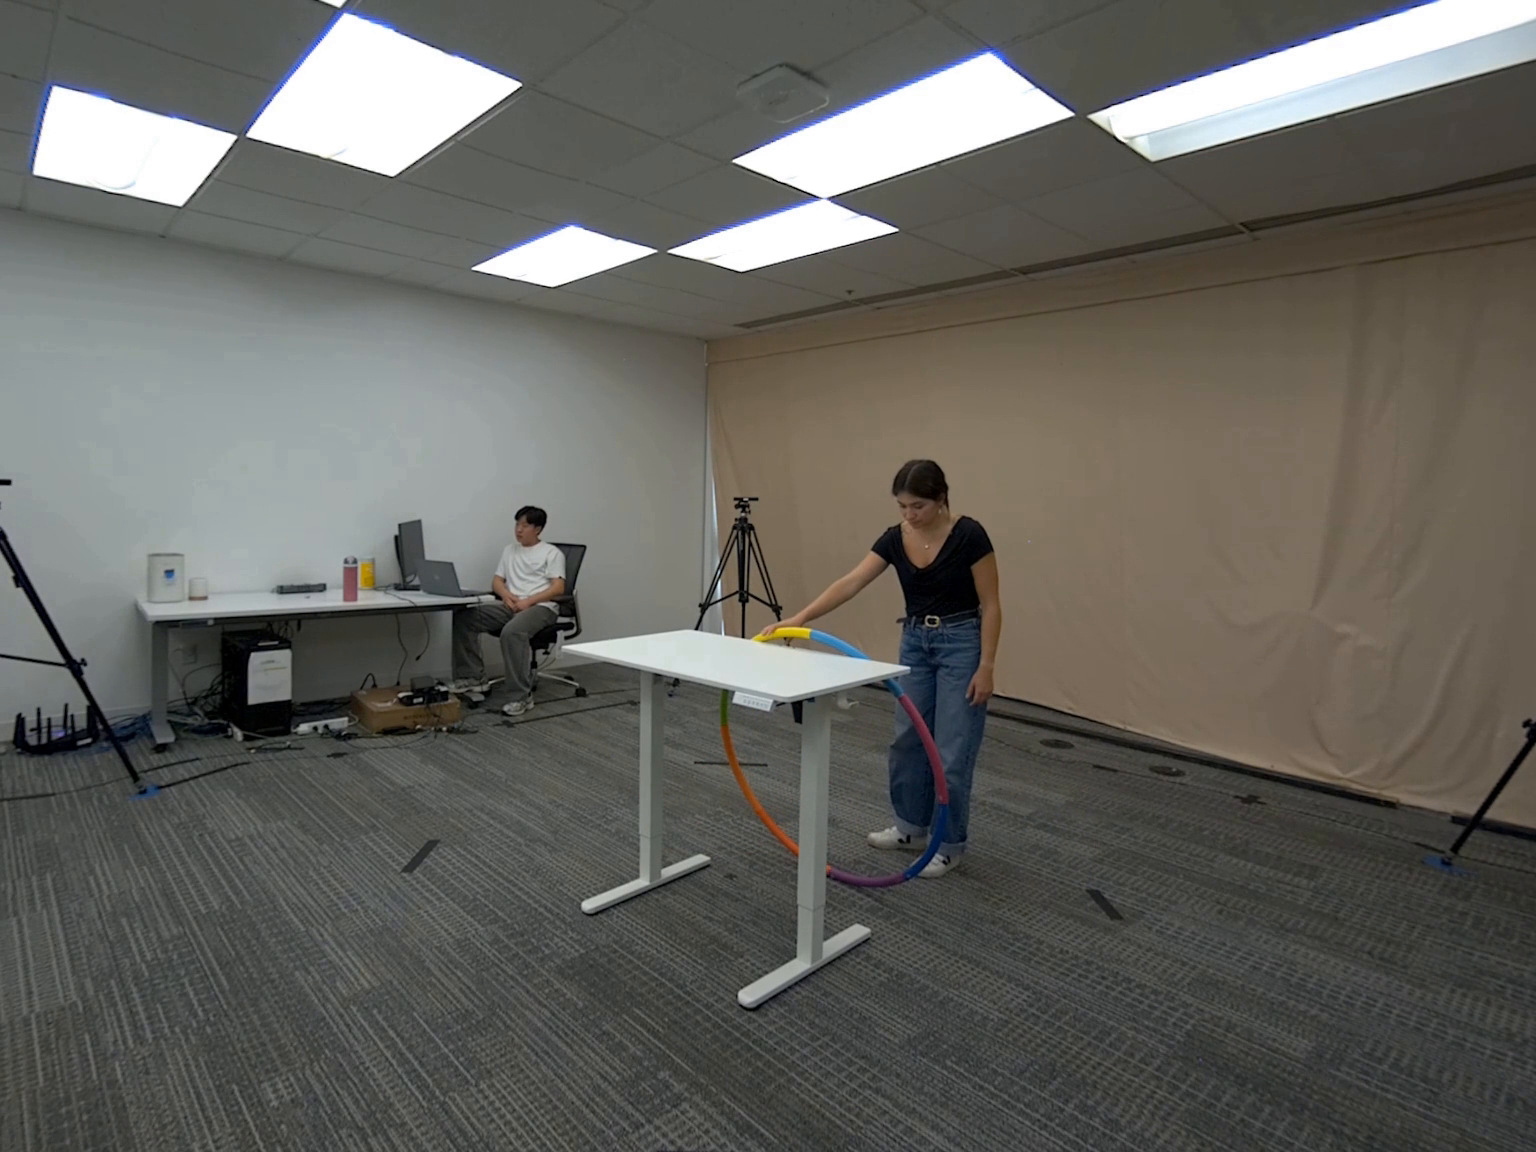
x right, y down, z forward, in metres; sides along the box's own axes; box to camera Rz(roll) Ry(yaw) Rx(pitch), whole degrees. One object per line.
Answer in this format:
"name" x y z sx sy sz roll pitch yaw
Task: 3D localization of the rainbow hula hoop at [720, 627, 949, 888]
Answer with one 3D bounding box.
"rainbow hula hoop" 0.194 0.650 2.996 1.004 0.968 0.035 5 18 43
